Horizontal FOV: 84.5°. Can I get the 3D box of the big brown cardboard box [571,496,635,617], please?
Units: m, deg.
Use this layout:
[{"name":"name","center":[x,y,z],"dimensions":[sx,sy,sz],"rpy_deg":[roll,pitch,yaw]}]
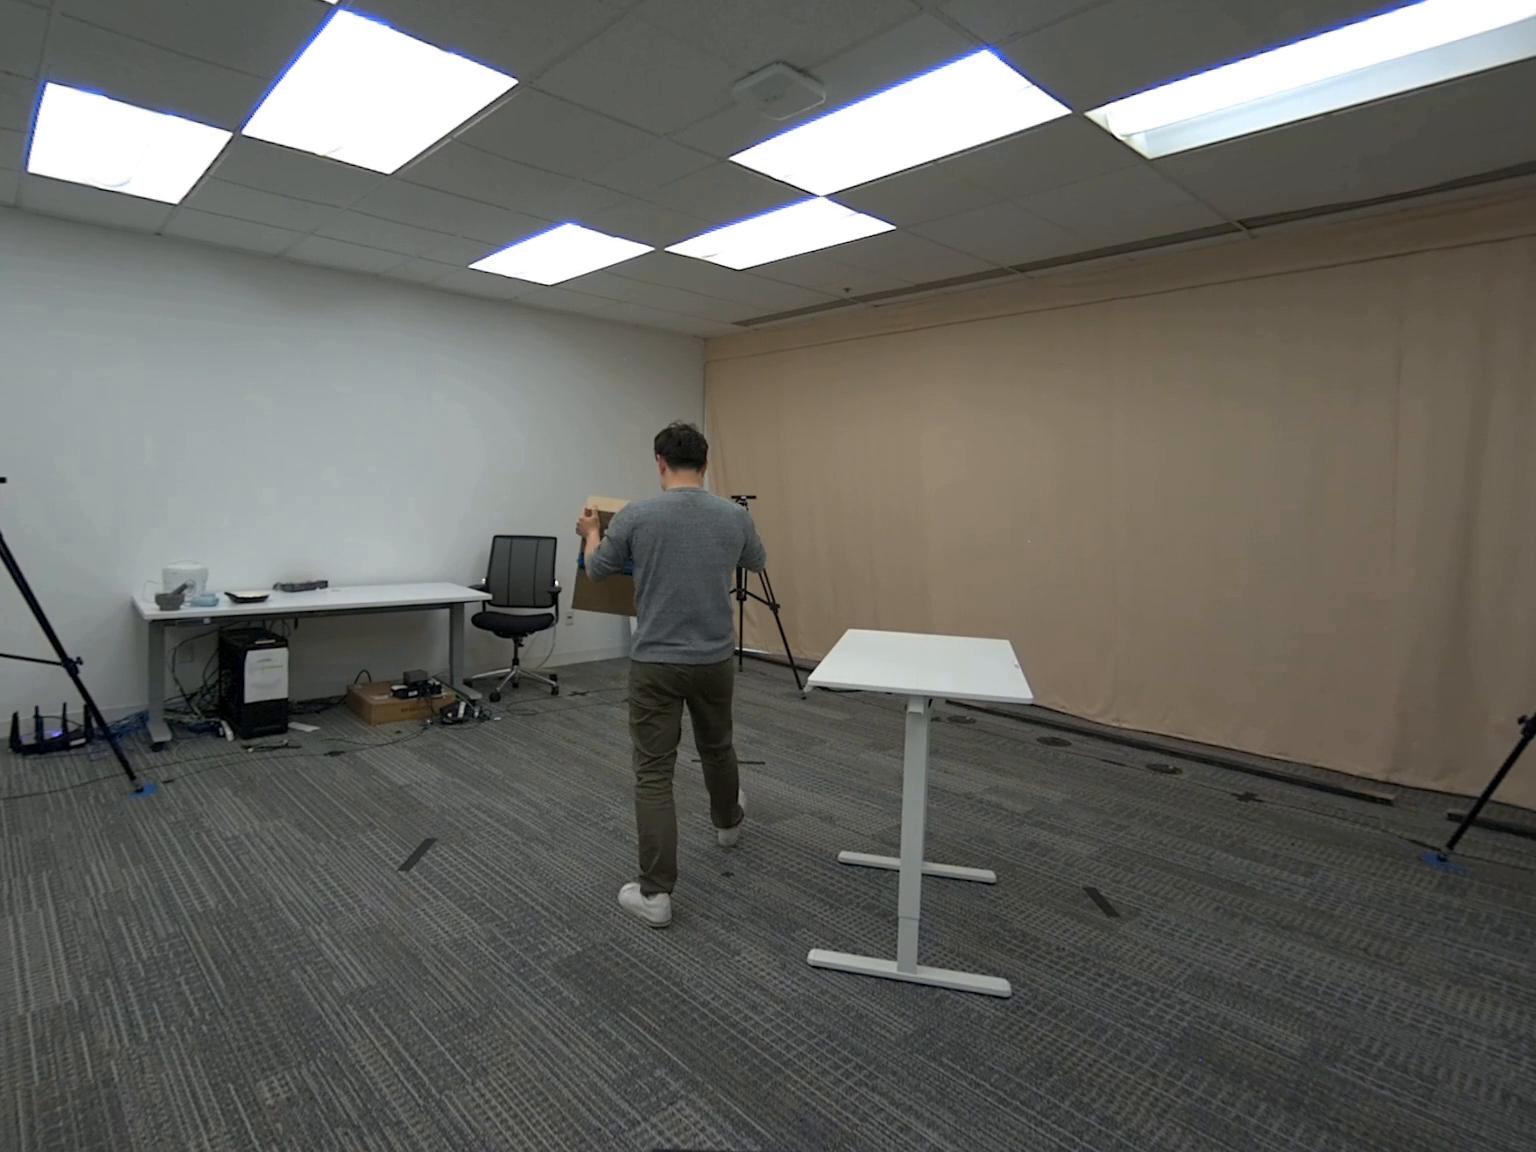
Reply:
[{"name":"big brown cardboard box","center":[-0.467,-0.059,3.379],"dimensions":[0.585,0.414,0.237],"rpy_deg":[8,16,-7]}]
